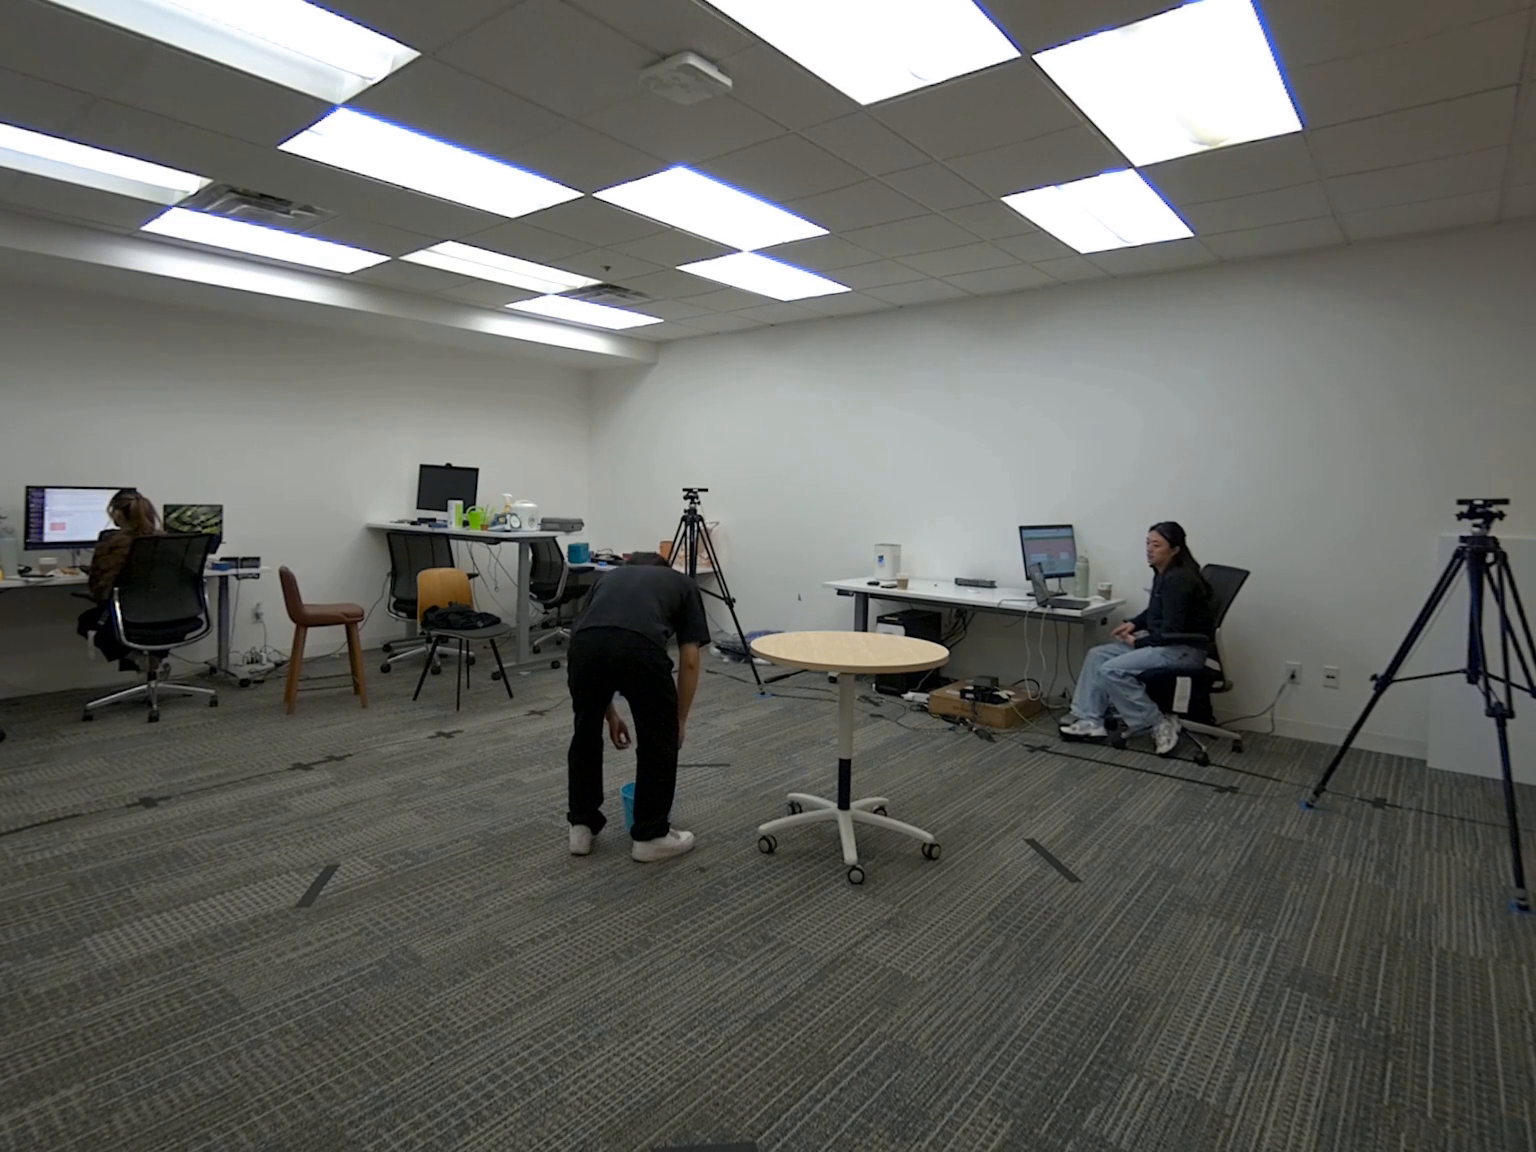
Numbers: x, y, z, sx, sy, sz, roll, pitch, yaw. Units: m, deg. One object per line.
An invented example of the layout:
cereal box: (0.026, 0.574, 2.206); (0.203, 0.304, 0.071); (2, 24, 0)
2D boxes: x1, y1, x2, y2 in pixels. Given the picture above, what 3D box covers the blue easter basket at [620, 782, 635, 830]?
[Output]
blue easter basket: (-0.502, 0.943, 3.489); (0.243, 0.155, 0.245); (1, 4, -2)
